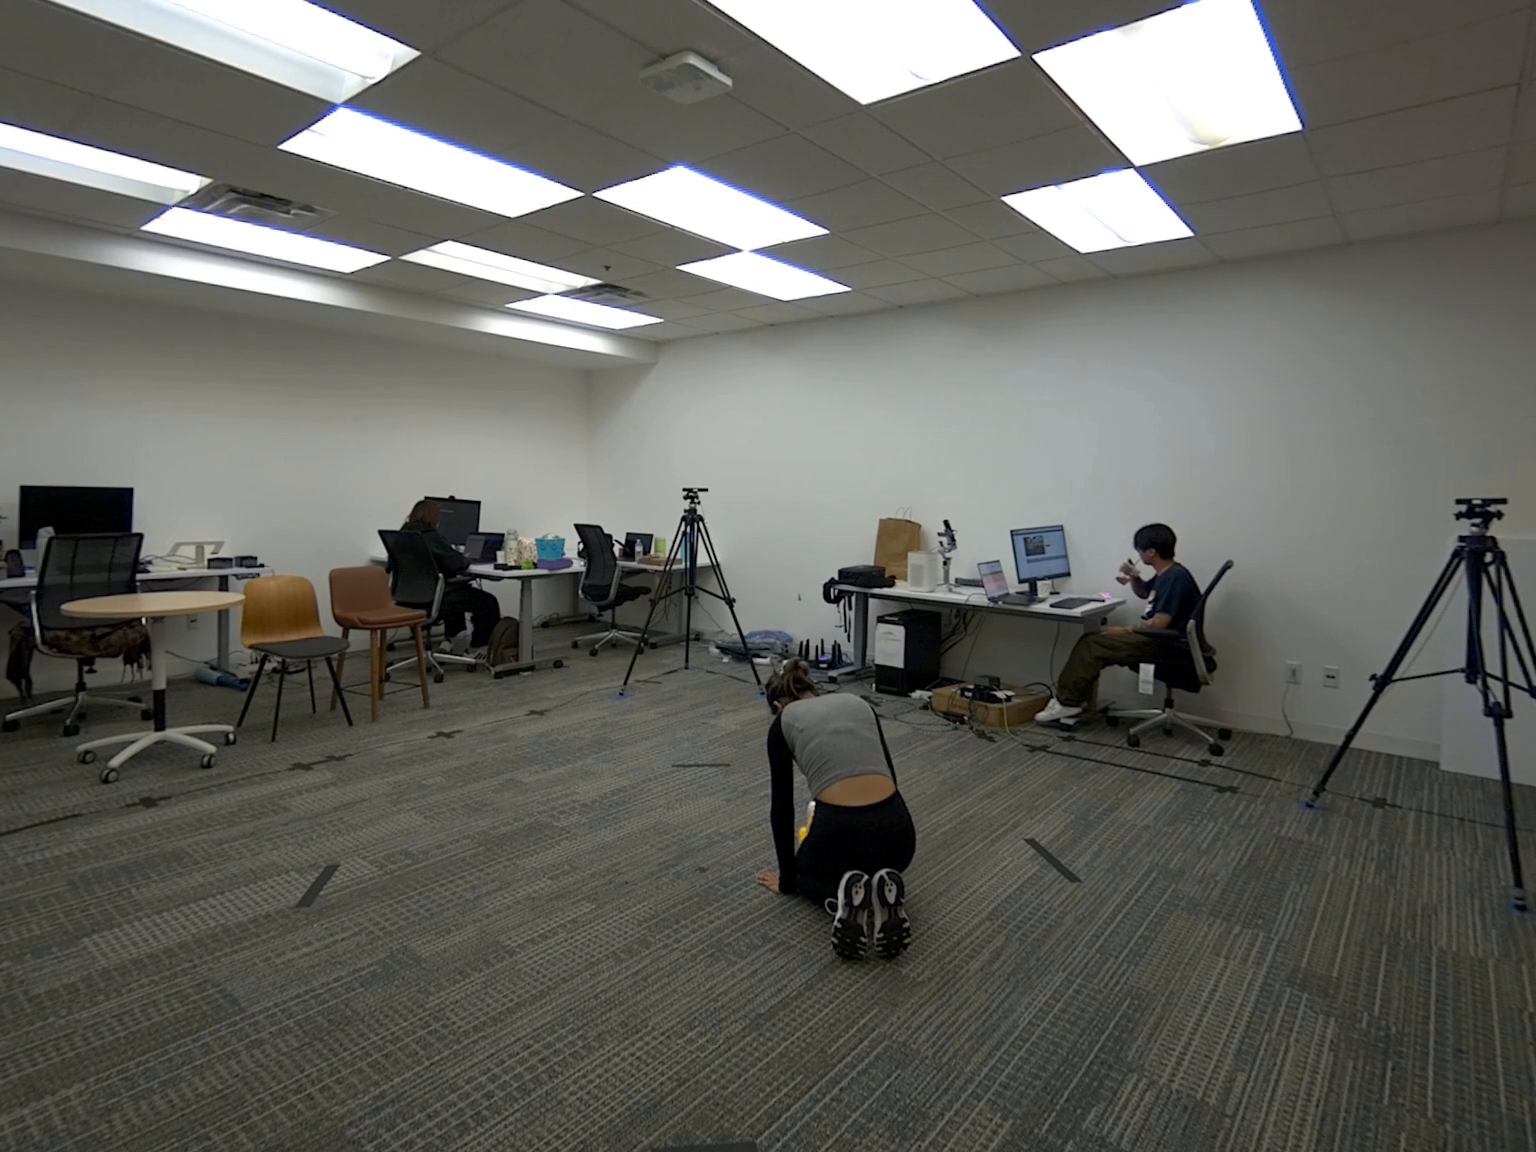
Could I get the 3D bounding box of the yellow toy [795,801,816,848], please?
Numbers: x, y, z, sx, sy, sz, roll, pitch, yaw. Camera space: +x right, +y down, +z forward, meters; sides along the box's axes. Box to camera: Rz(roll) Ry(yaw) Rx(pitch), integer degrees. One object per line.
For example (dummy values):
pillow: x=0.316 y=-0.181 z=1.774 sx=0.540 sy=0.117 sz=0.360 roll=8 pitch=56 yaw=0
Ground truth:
yellow toy: x=0.217 y=0.933 z=3.354 sx=0.202 sy=0.230 sz=0.196 roll=1 pitch=5 yaw=-11
